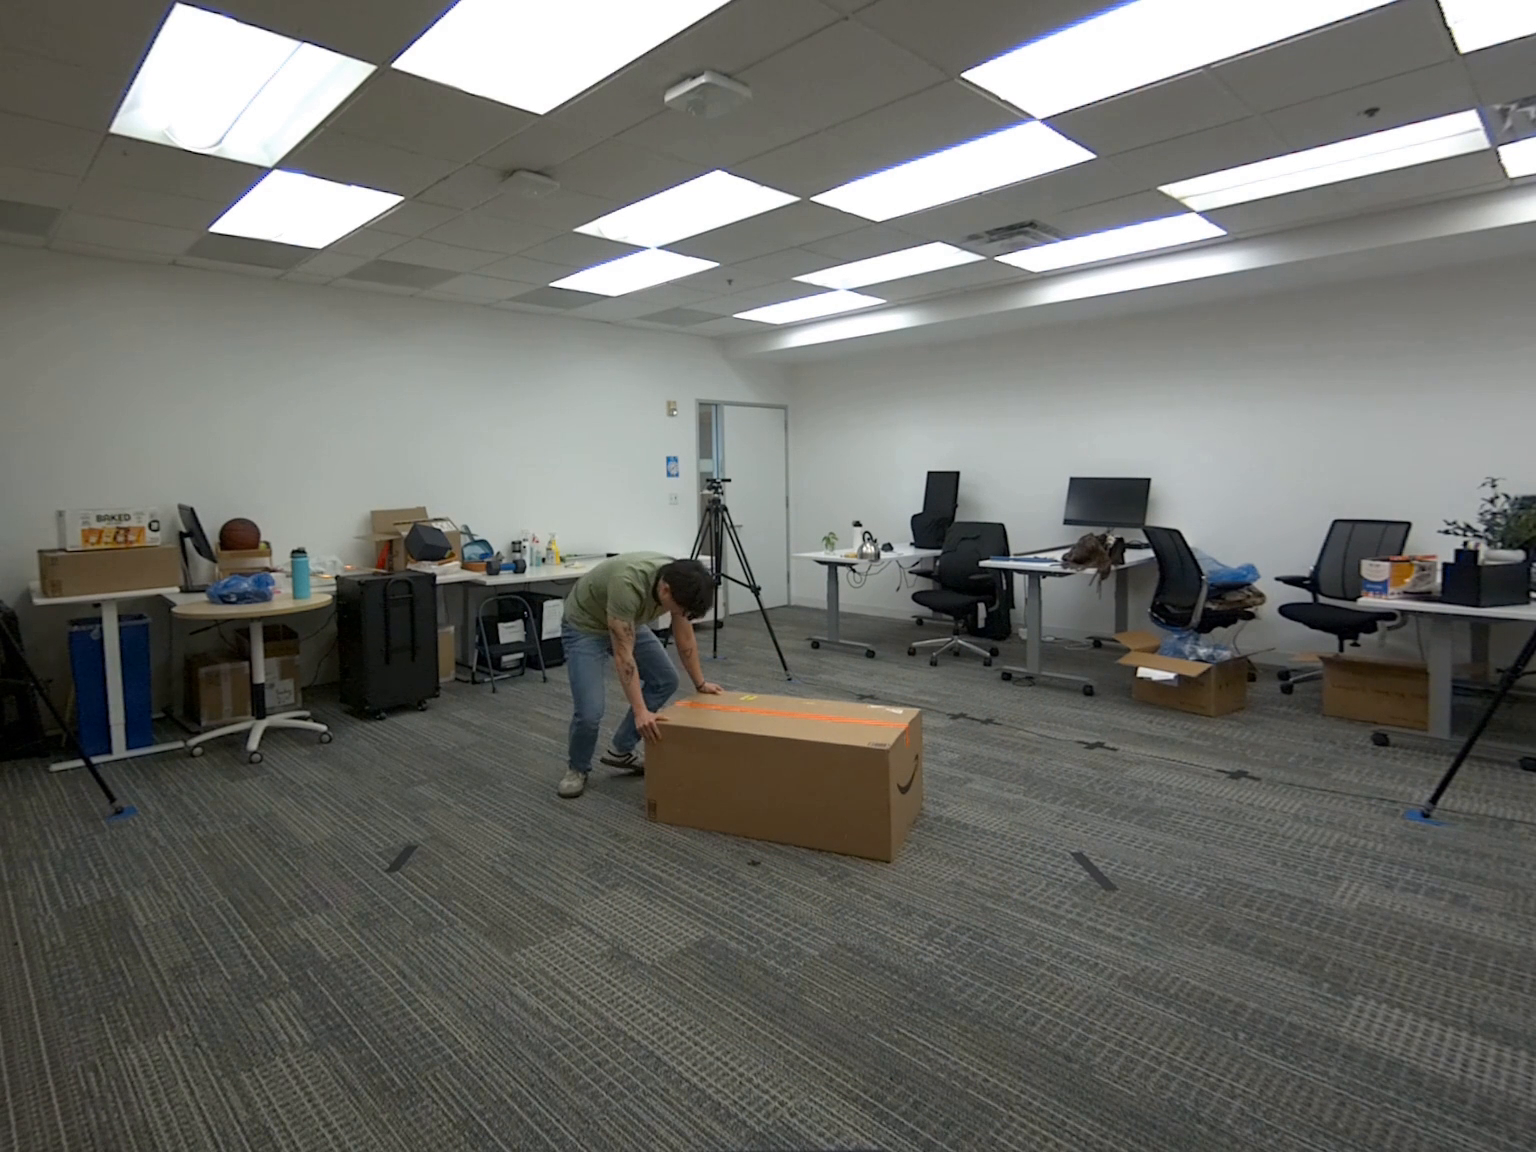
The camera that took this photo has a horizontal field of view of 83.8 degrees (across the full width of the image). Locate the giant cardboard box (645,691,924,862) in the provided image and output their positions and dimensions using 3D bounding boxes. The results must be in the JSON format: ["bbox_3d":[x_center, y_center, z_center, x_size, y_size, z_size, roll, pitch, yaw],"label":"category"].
[{"bbox_3d":[0.073,0.782,3.541,1.049,0.425,0.567,1,5,24],"label":"giant cardboard box"}]
